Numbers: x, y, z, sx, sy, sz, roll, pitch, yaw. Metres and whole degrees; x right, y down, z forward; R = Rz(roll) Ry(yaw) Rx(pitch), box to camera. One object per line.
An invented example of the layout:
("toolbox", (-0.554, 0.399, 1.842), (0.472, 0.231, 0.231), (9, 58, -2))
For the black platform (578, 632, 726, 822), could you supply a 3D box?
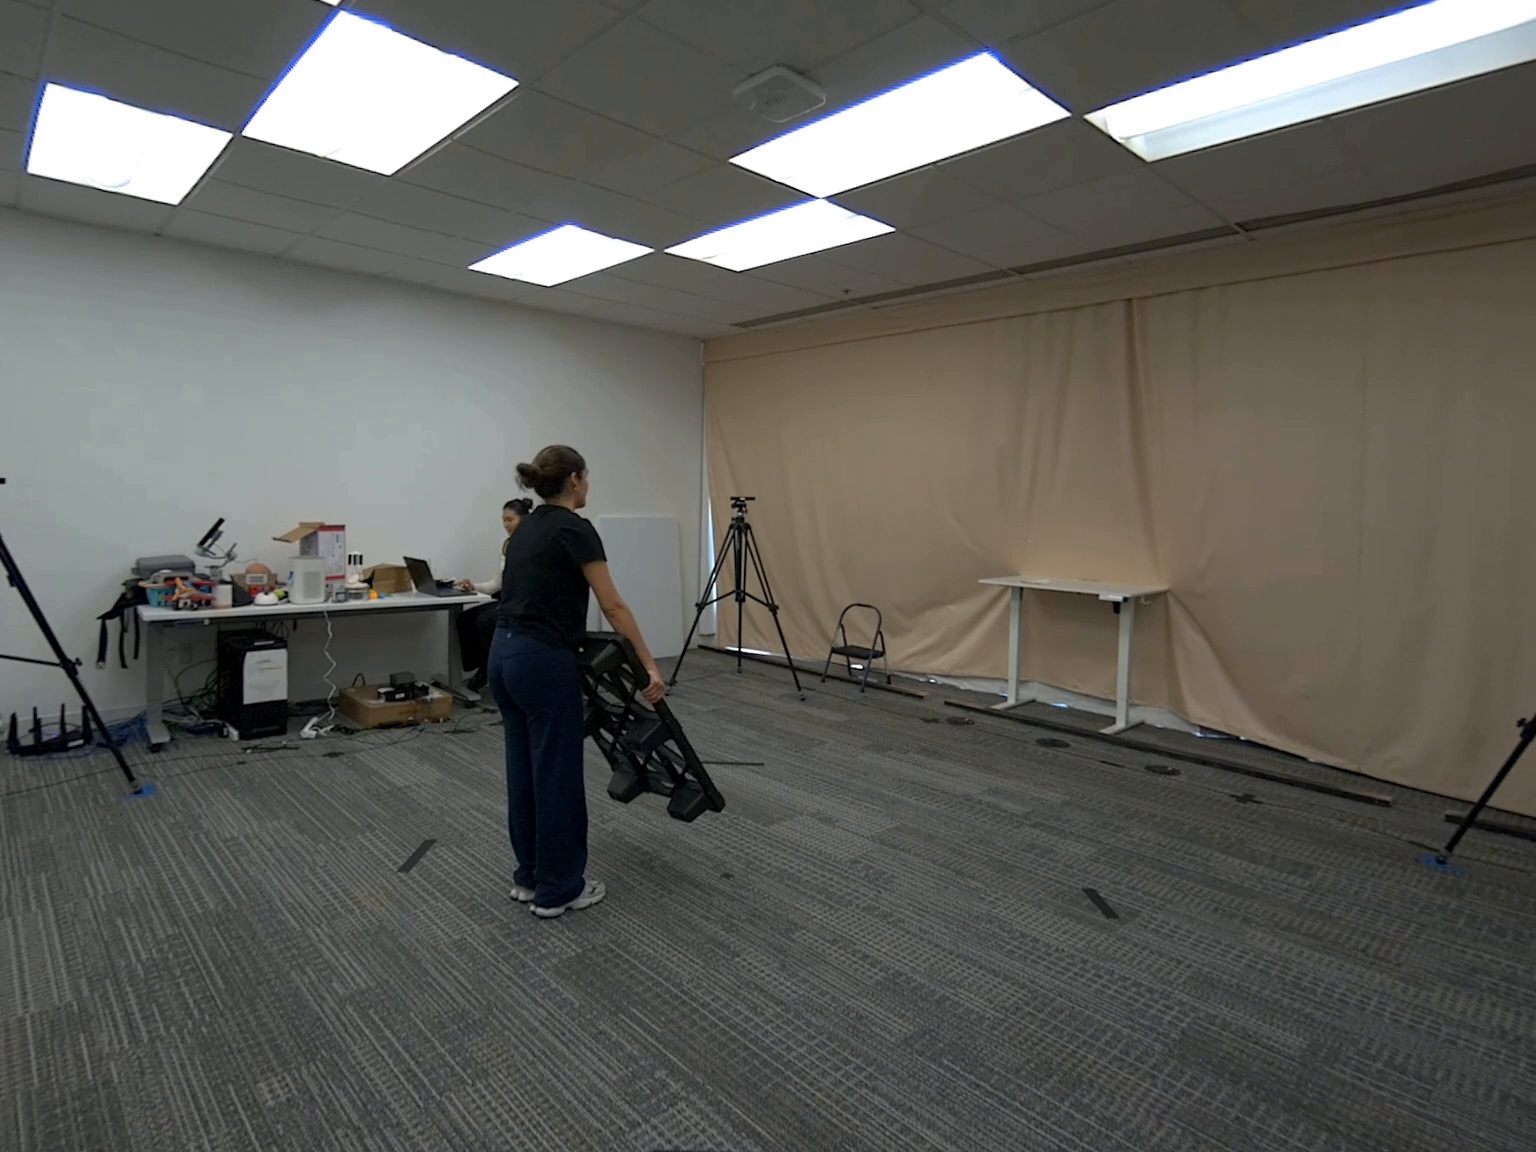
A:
("black platform", (-0.563, 0.548, 3.073), (0.619, 0.789, 0.143), (-2, 31, 45))
